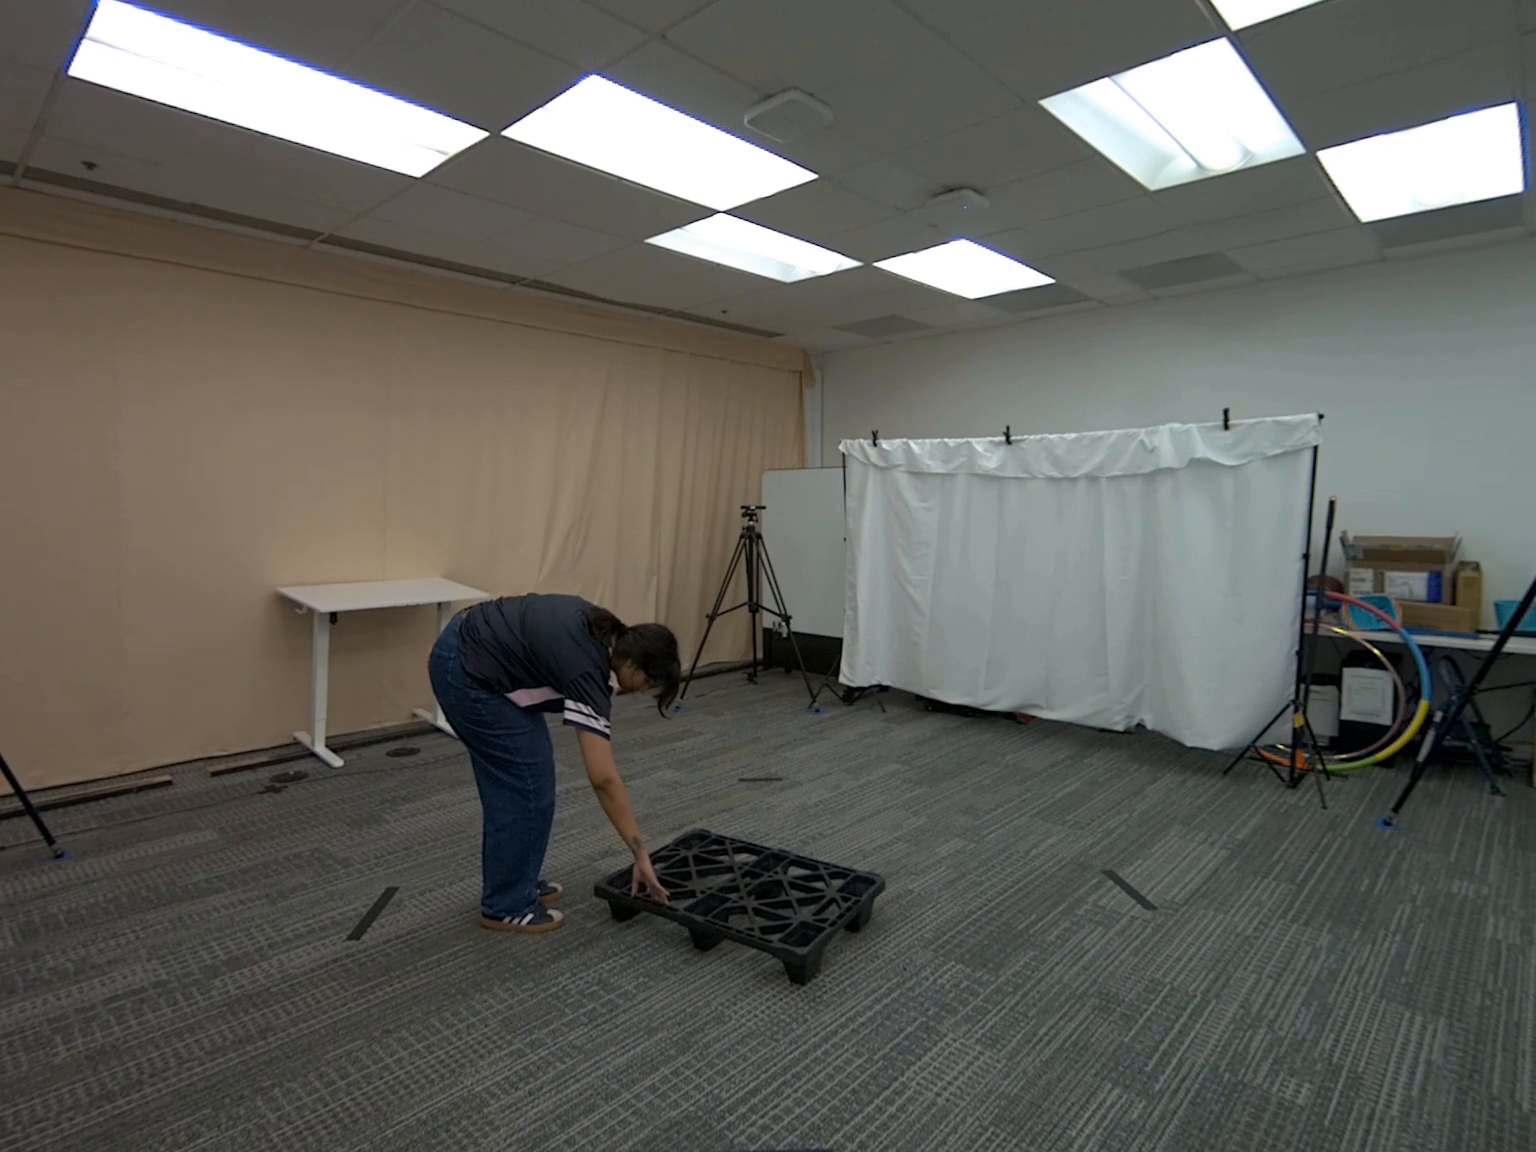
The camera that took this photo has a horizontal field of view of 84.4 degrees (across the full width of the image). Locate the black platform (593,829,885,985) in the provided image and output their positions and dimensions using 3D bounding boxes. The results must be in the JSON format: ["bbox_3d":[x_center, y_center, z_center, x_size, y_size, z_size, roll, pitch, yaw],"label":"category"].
[{"bbox_3d":[-0.088,1.090,2.821,0.830,0.143,0.589,3,6,33],"label":"black platform"}]
